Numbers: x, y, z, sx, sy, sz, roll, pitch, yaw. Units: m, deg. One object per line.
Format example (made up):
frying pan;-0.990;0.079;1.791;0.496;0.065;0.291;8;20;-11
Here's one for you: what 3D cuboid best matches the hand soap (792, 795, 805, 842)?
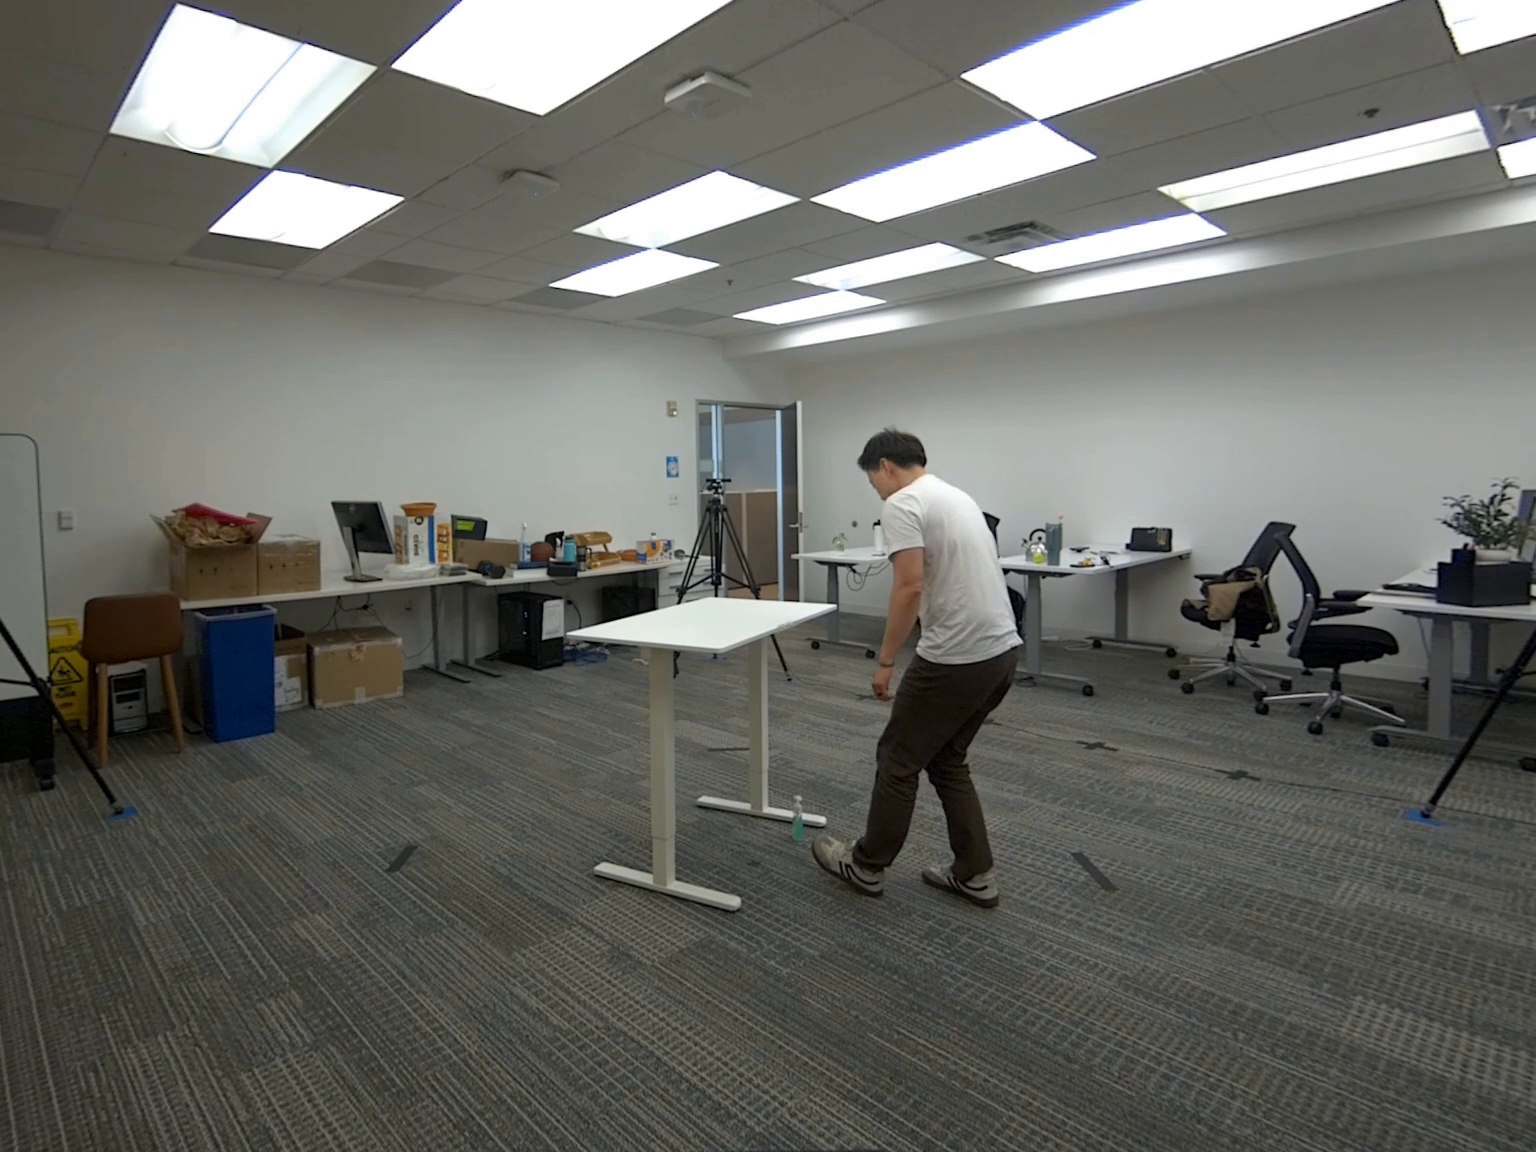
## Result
hand soap;0.117;0.937;3.310;0.043;0.167;0.085;0;4;-6
